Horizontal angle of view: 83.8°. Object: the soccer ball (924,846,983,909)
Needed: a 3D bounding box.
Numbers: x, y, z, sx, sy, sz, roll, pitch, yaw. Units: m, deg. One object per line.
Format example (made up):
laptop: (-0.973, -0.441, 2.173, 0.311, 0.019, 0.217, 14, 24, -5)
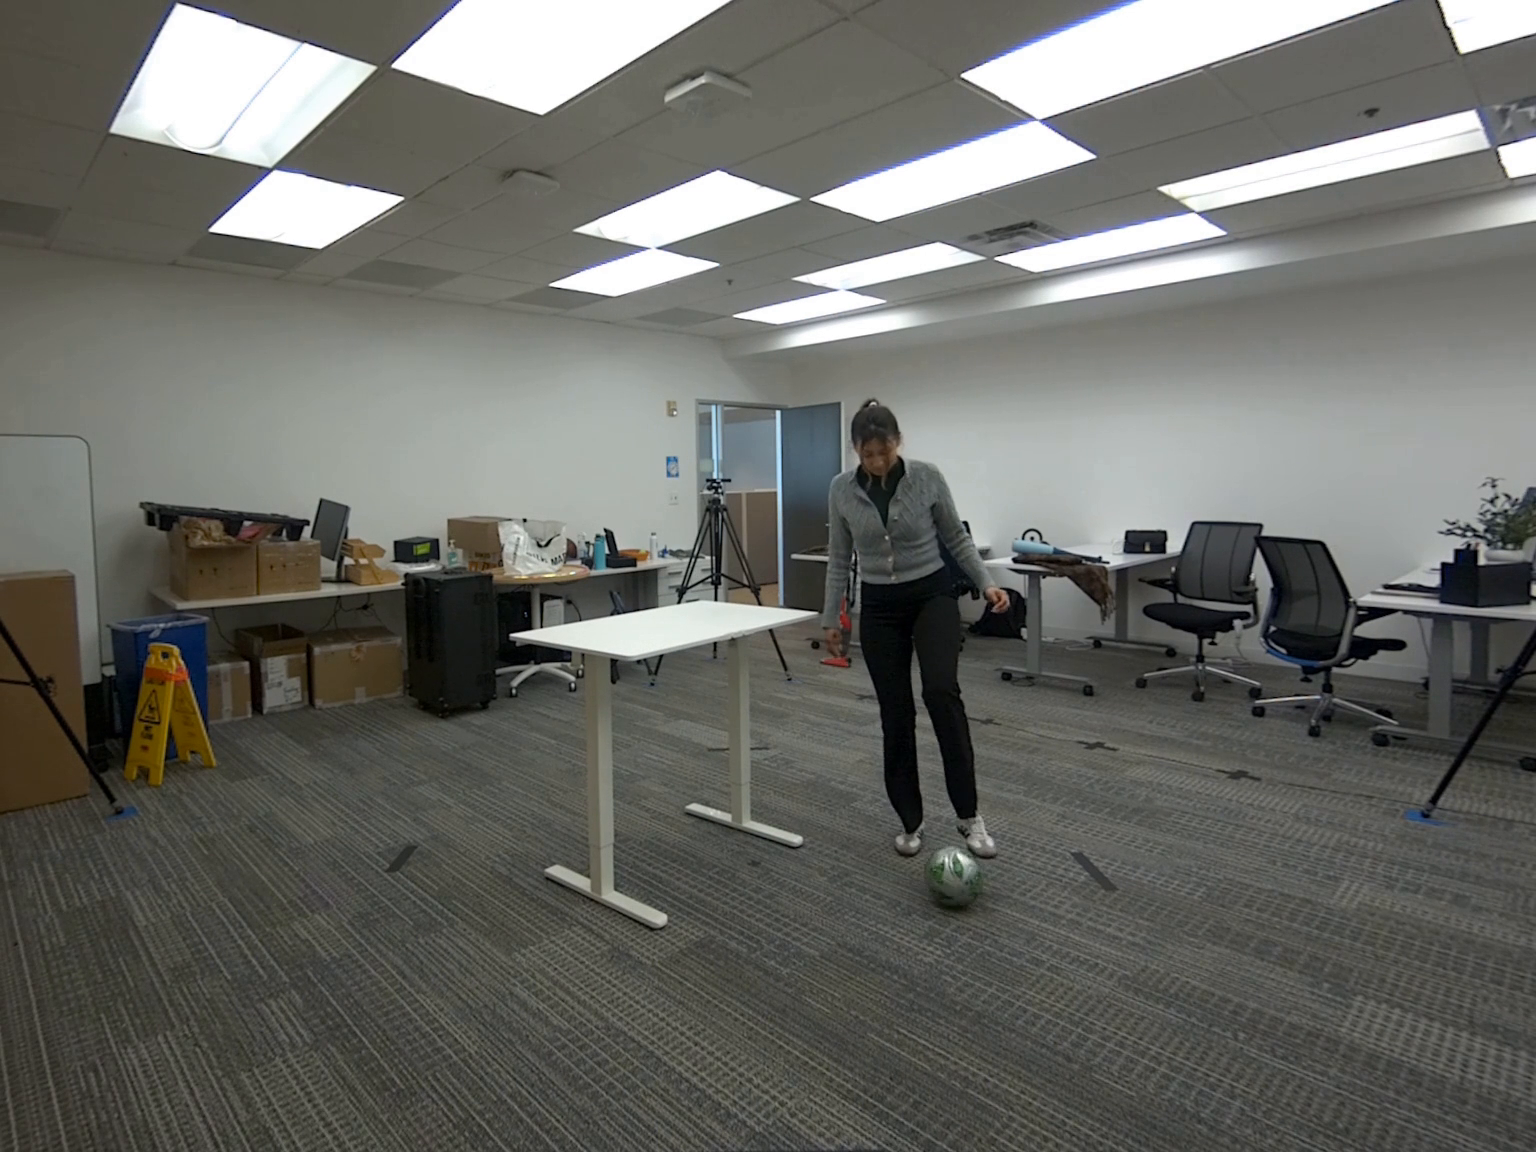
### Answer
soccer ball: (0.596, 0.975, 2.791, 0.187, 0.187, 0.188, -1, 5, -2)
